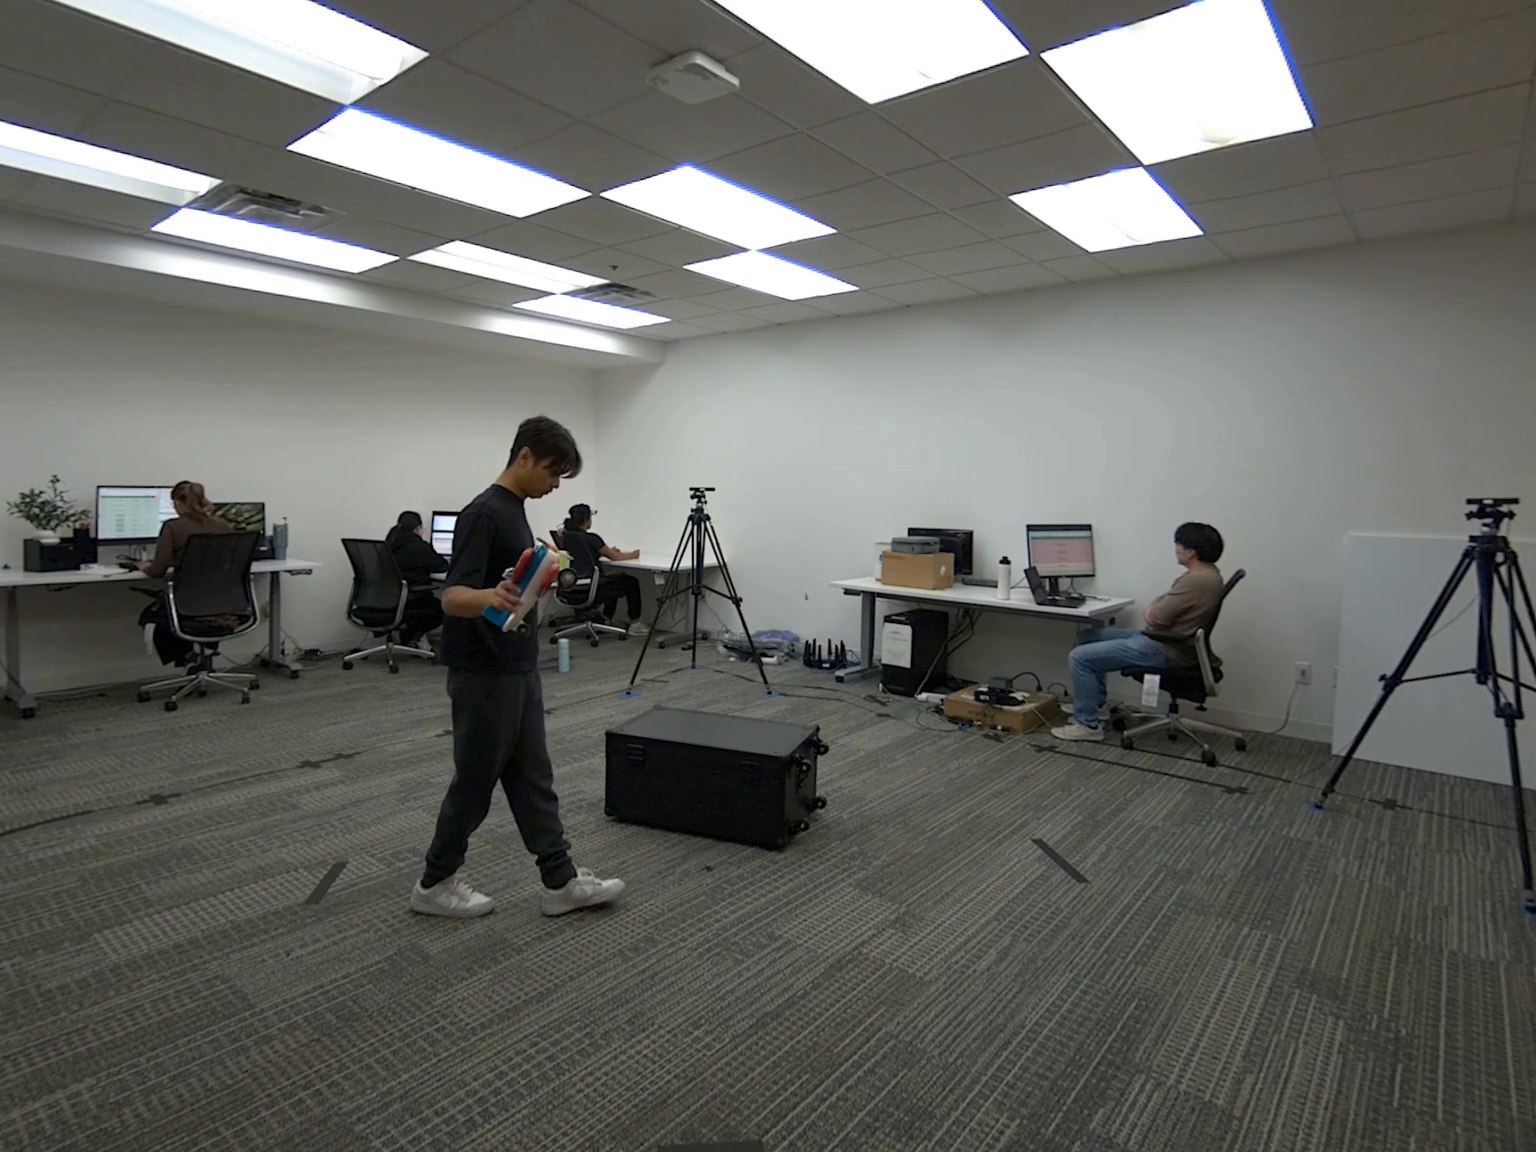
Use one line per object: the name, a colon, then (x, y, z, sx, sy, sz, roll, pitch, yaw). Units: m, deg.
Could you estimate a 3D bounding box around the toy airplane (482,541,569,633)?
toy airplane: (-0.627, 0.026, 2.243, 0.252, 0.156, 0.260, -42, 8, 48)
